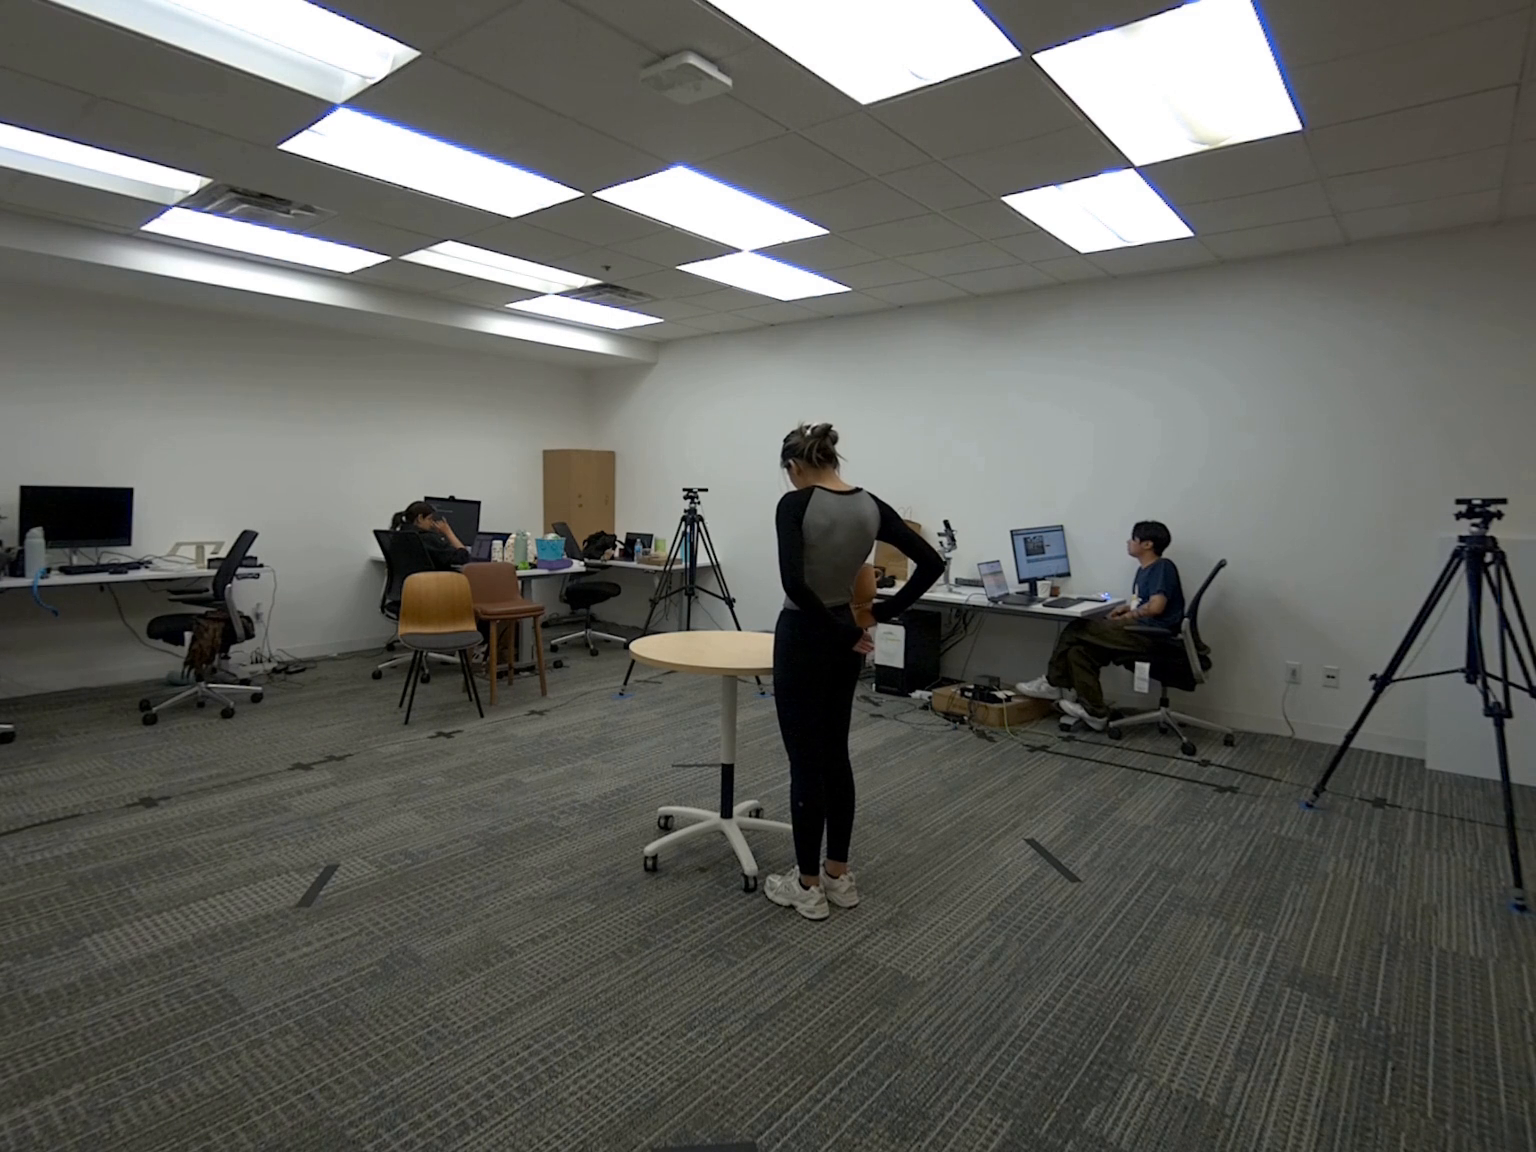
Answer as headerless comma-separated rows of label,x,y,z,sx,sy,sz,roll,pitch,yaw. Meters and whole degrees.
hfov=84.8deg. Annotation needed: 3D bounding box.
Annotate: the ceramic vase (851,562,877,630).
ceramic vase,0.313,0.070,3.017,0.162,0.220,0.131,-9,1,30
